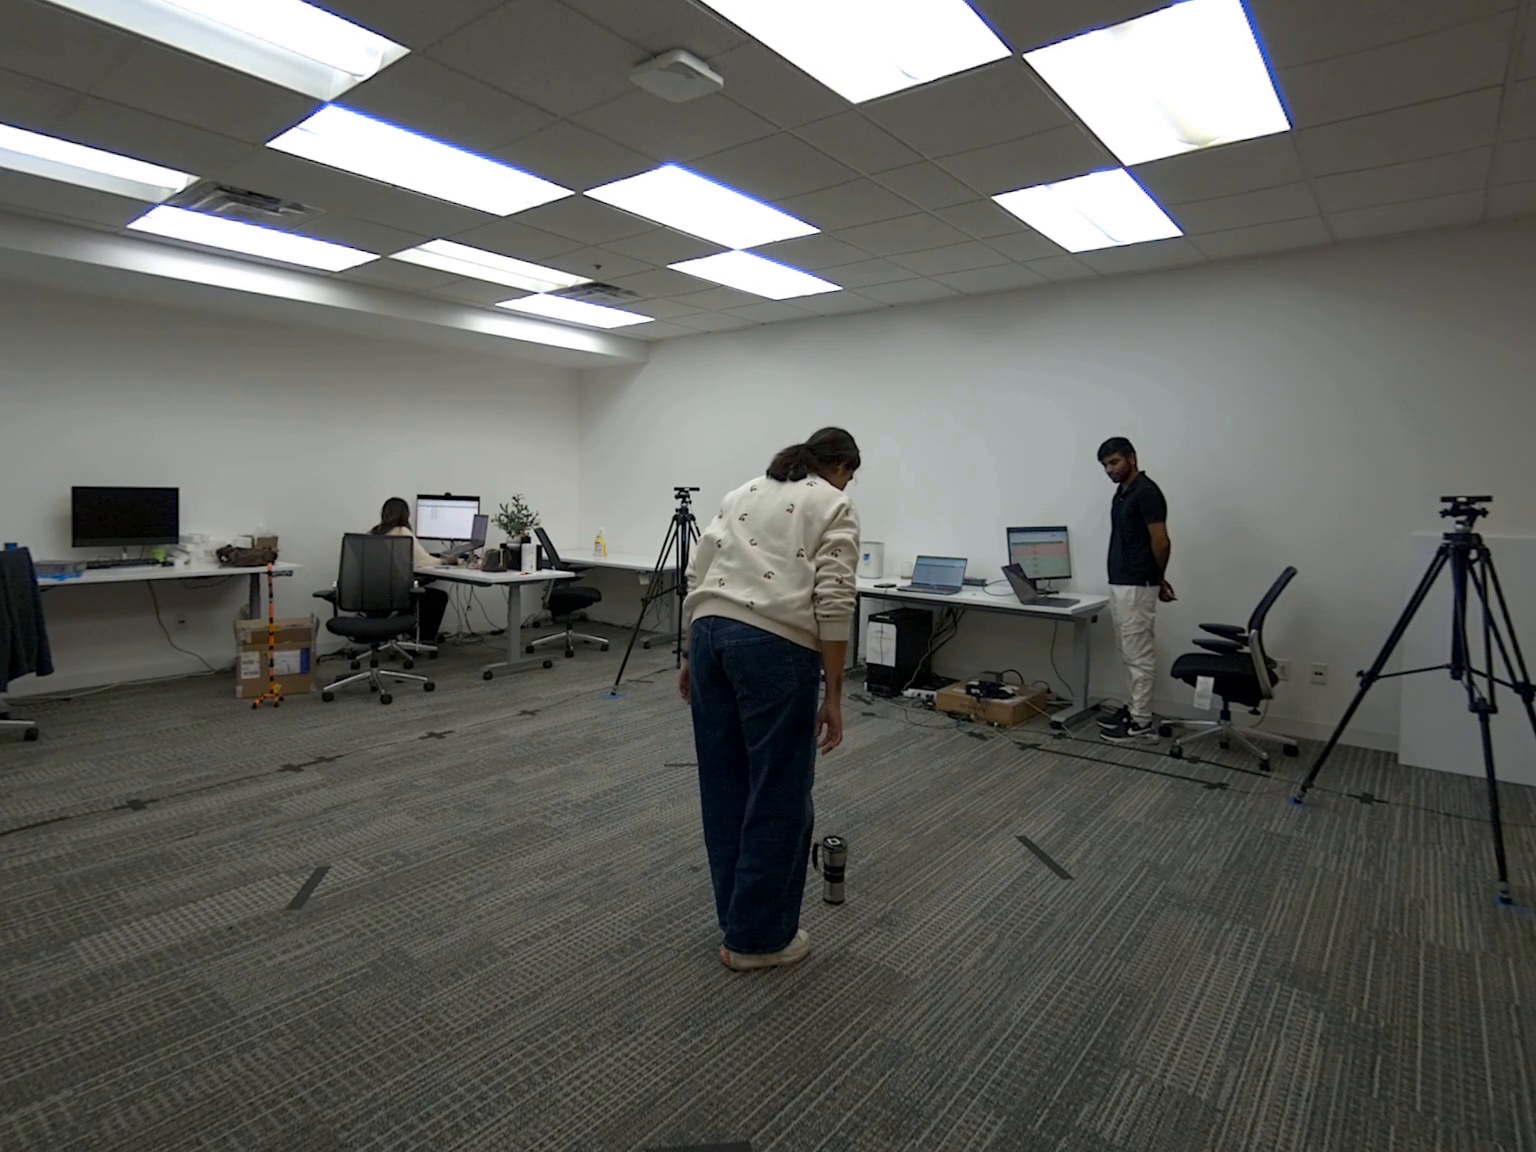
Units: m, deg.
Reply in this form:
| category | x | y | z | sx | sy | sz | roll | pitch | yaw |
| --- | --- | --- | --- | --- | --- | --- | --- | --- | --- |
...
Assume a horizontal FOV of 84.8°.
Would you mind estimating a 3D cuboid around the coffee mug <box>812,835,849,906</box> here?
| category | x | y | z | sx | sy | sz | roll | pitch | yaw |
| --- | --- | --- | --- | --- | --- | --- | --- | --- | --- |
| coffee mug | 0.208 | 0.993 | 2.902 | 0.085 | 0.201 | 0.126 | -4 | 9 | -35 |
